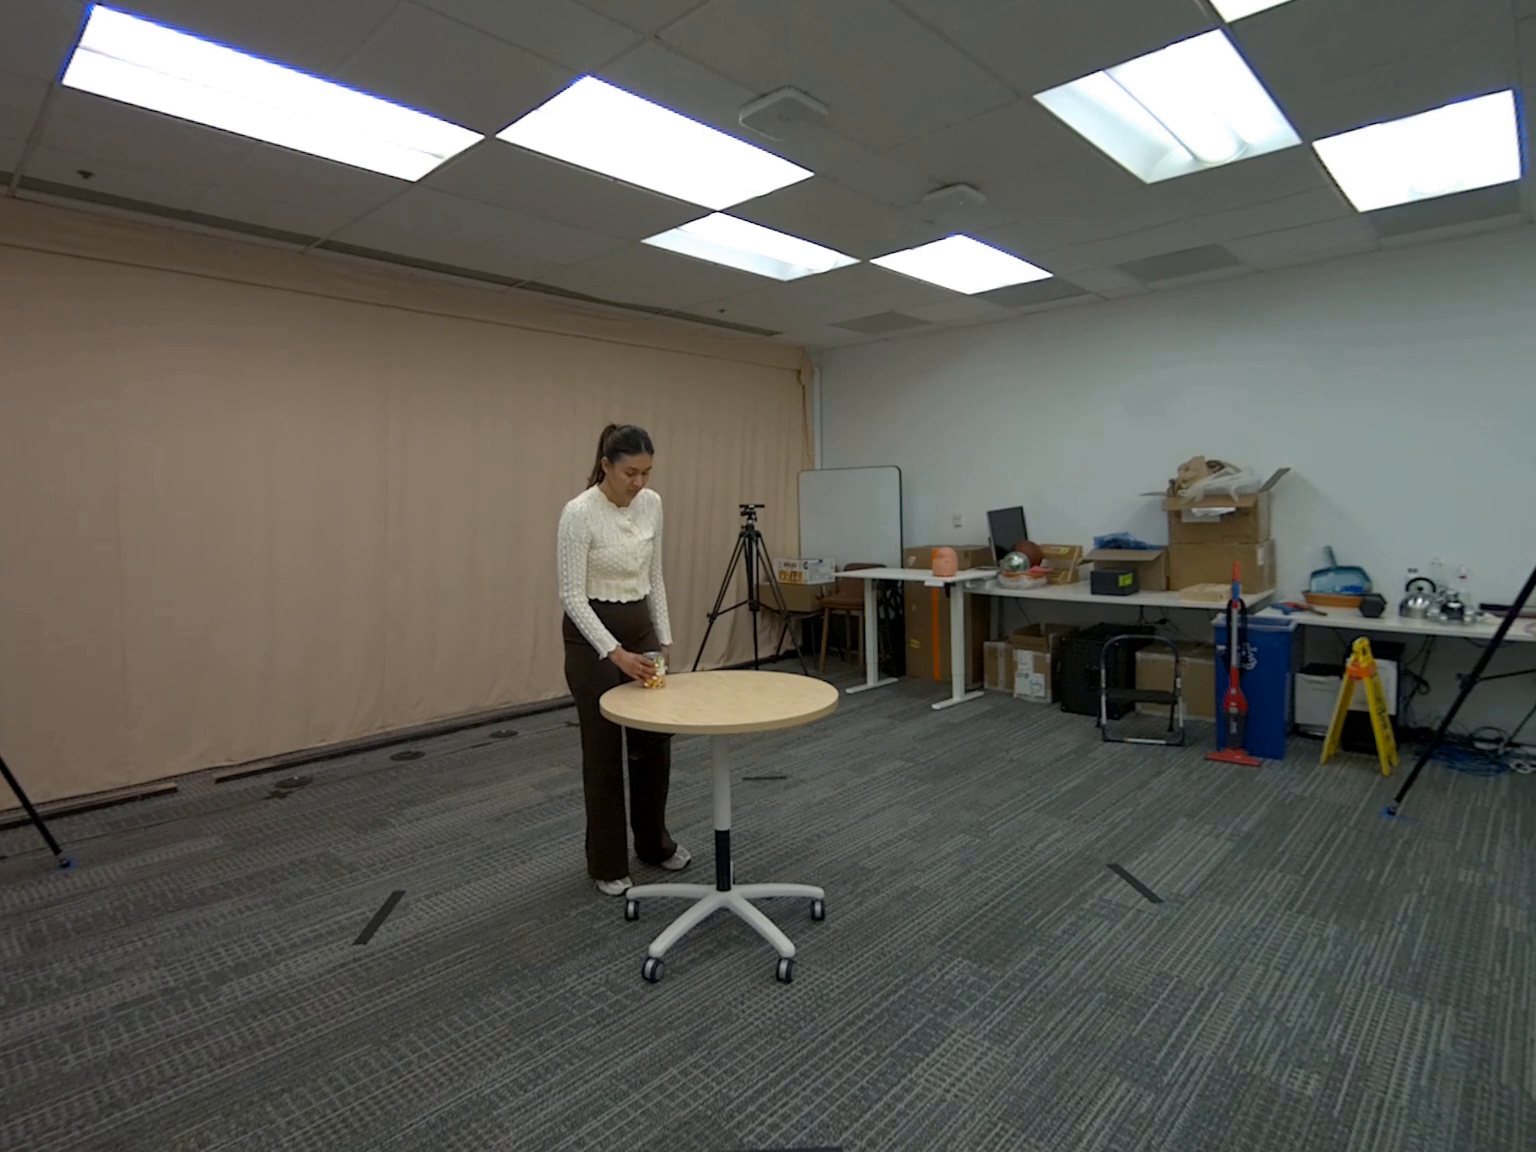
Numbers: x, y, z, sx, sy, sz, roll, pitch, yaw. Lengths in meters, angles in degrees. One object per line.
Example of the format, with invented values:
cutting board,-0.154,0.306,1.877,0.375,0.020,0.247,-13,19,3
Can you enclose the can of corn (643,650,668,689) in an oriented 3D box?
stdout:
can of corn,-0.383,0.322,2.854,0.074,0.111,0.074,-3,2,-2
